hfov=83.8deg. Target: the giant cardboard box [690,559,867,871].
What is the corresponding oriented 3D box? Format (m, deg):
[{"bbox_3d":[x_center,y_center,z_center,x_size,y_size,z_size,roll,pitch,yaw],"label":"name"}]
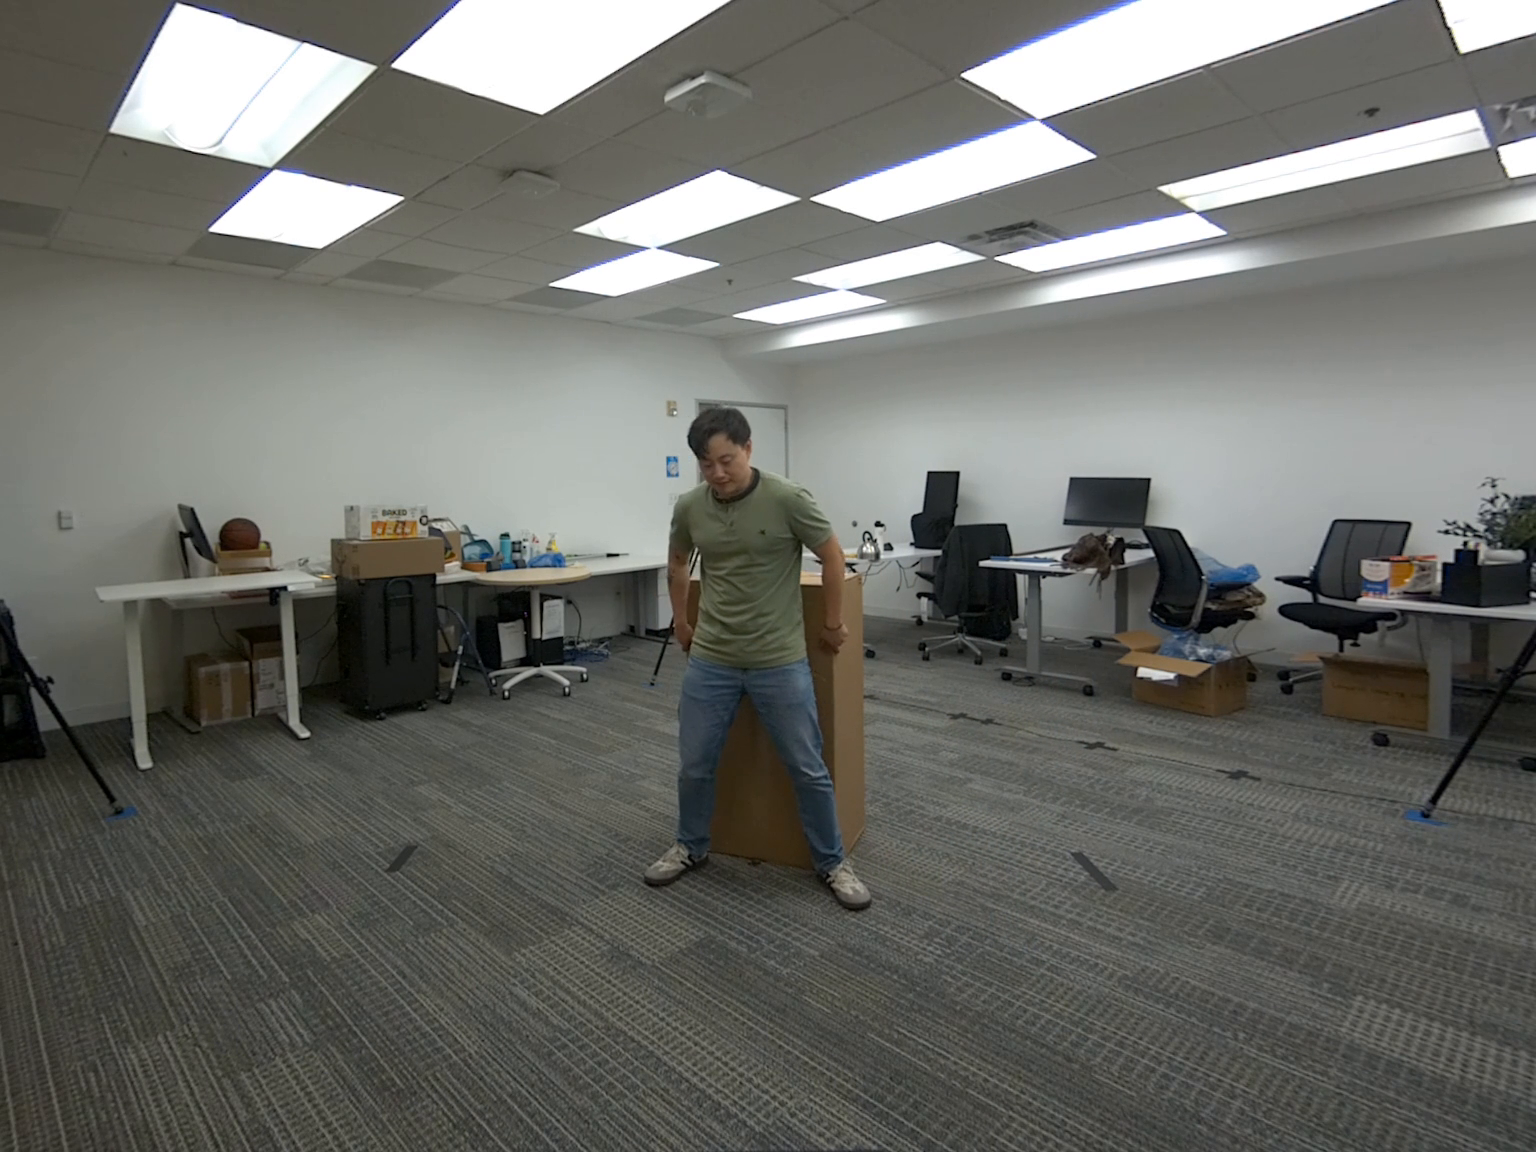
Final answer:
[{"bbox_3d":[0.040,0.506,3.300,0.590,1.022,0.418,1,4,23],"label":"giant cardboard box"}]
